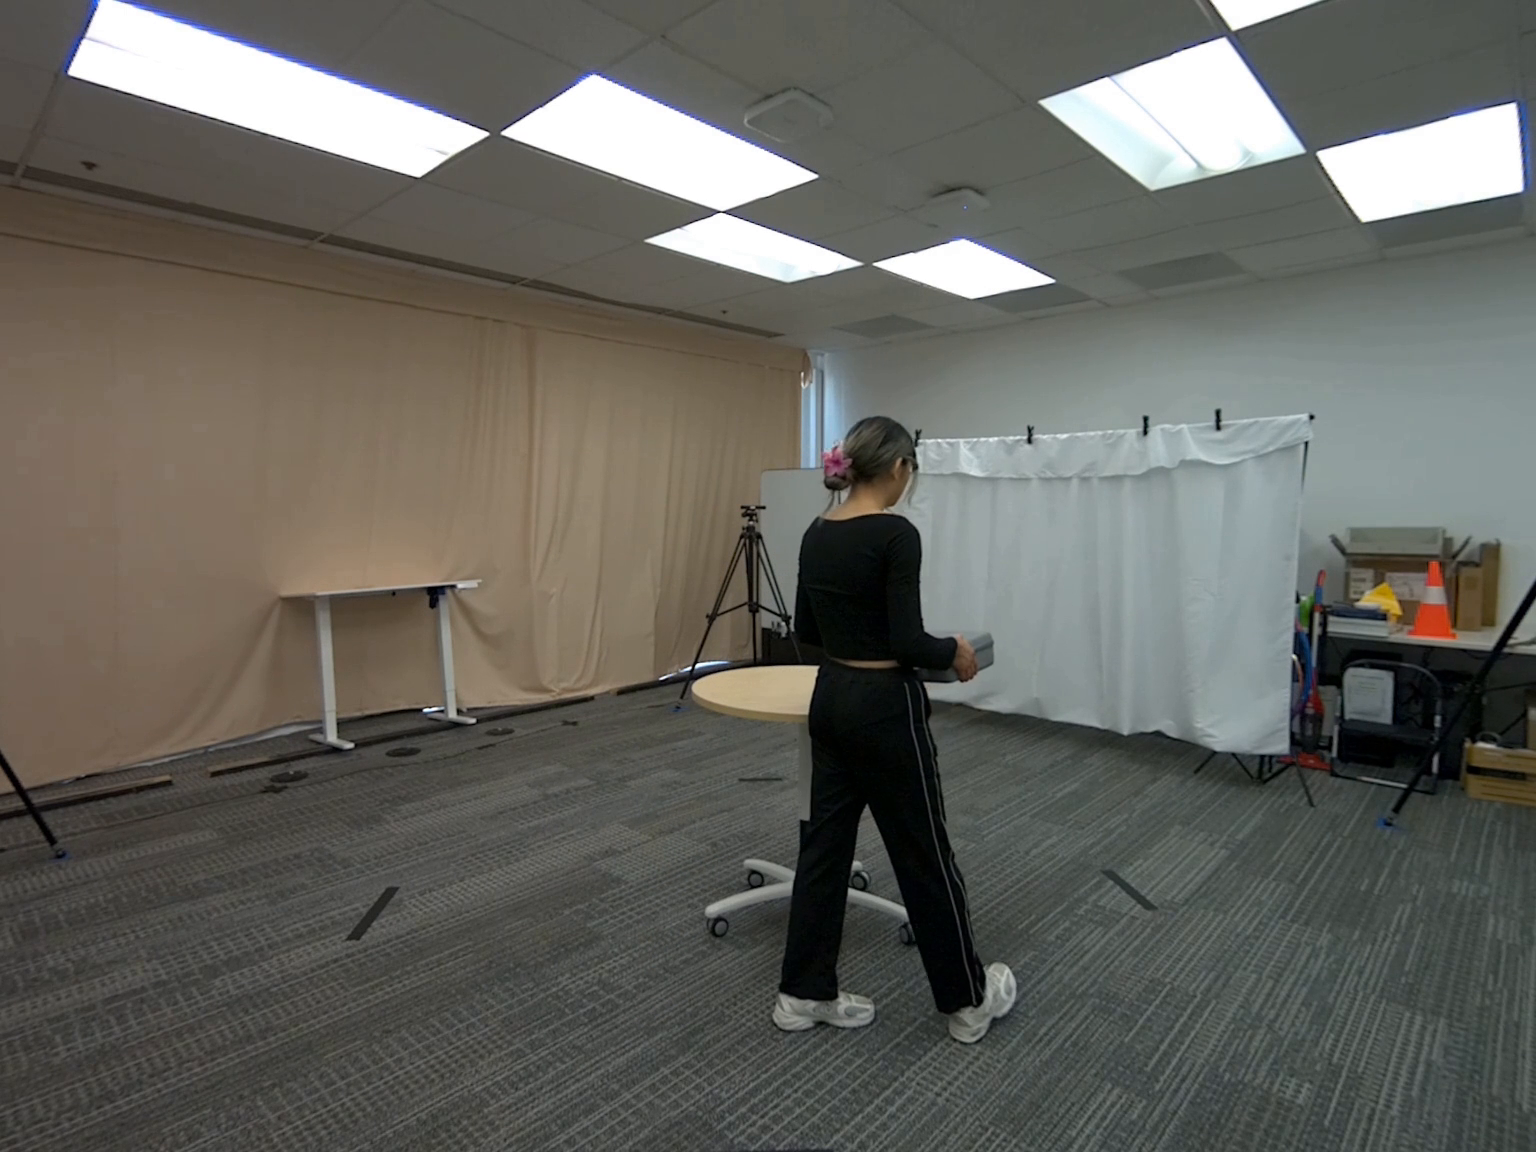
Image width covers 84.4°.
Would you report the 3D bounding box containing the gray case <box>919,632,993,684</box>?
[{"bbox_3d":[0.426,0.222,2.418,0.257,0.104,0.262,-10,7,-15],"label":"gray case"}]
